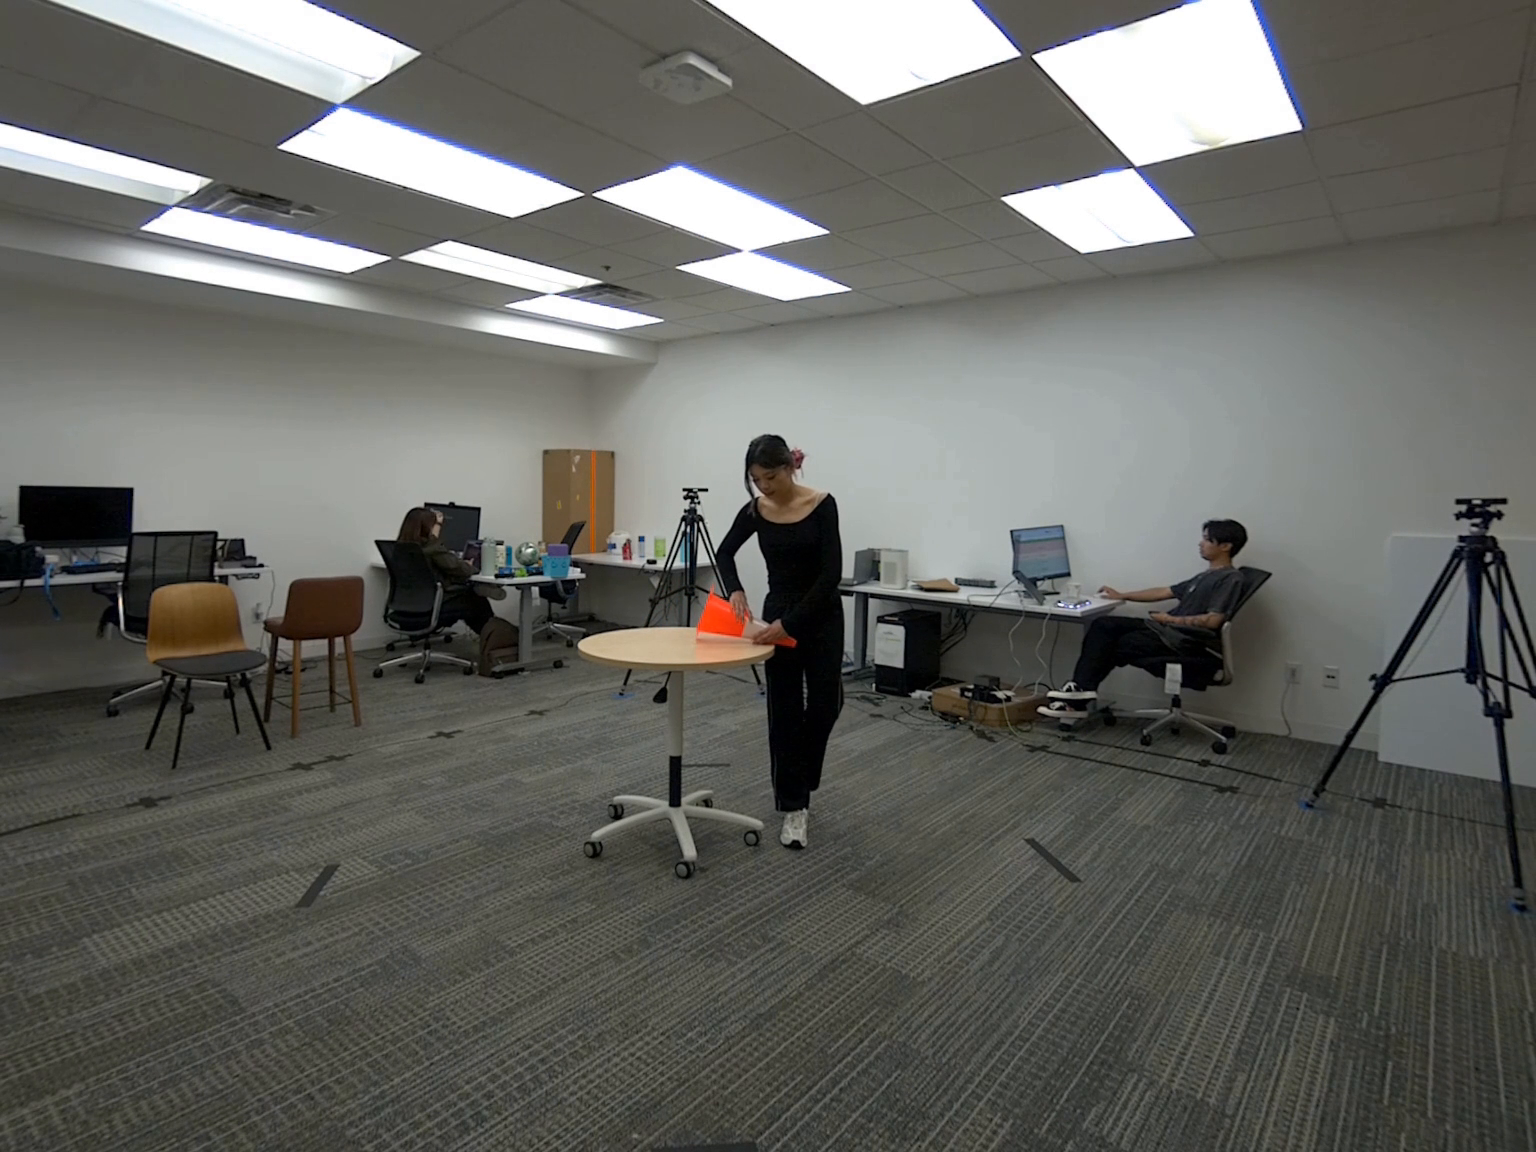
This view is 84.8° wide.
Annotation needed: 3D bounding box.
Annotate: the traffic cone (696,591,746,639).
[{"bbox_3d":[-0.085,0.195,3.368,0.385,0.205,0.202,17,-17,1],"label":"traffic cone"}]
